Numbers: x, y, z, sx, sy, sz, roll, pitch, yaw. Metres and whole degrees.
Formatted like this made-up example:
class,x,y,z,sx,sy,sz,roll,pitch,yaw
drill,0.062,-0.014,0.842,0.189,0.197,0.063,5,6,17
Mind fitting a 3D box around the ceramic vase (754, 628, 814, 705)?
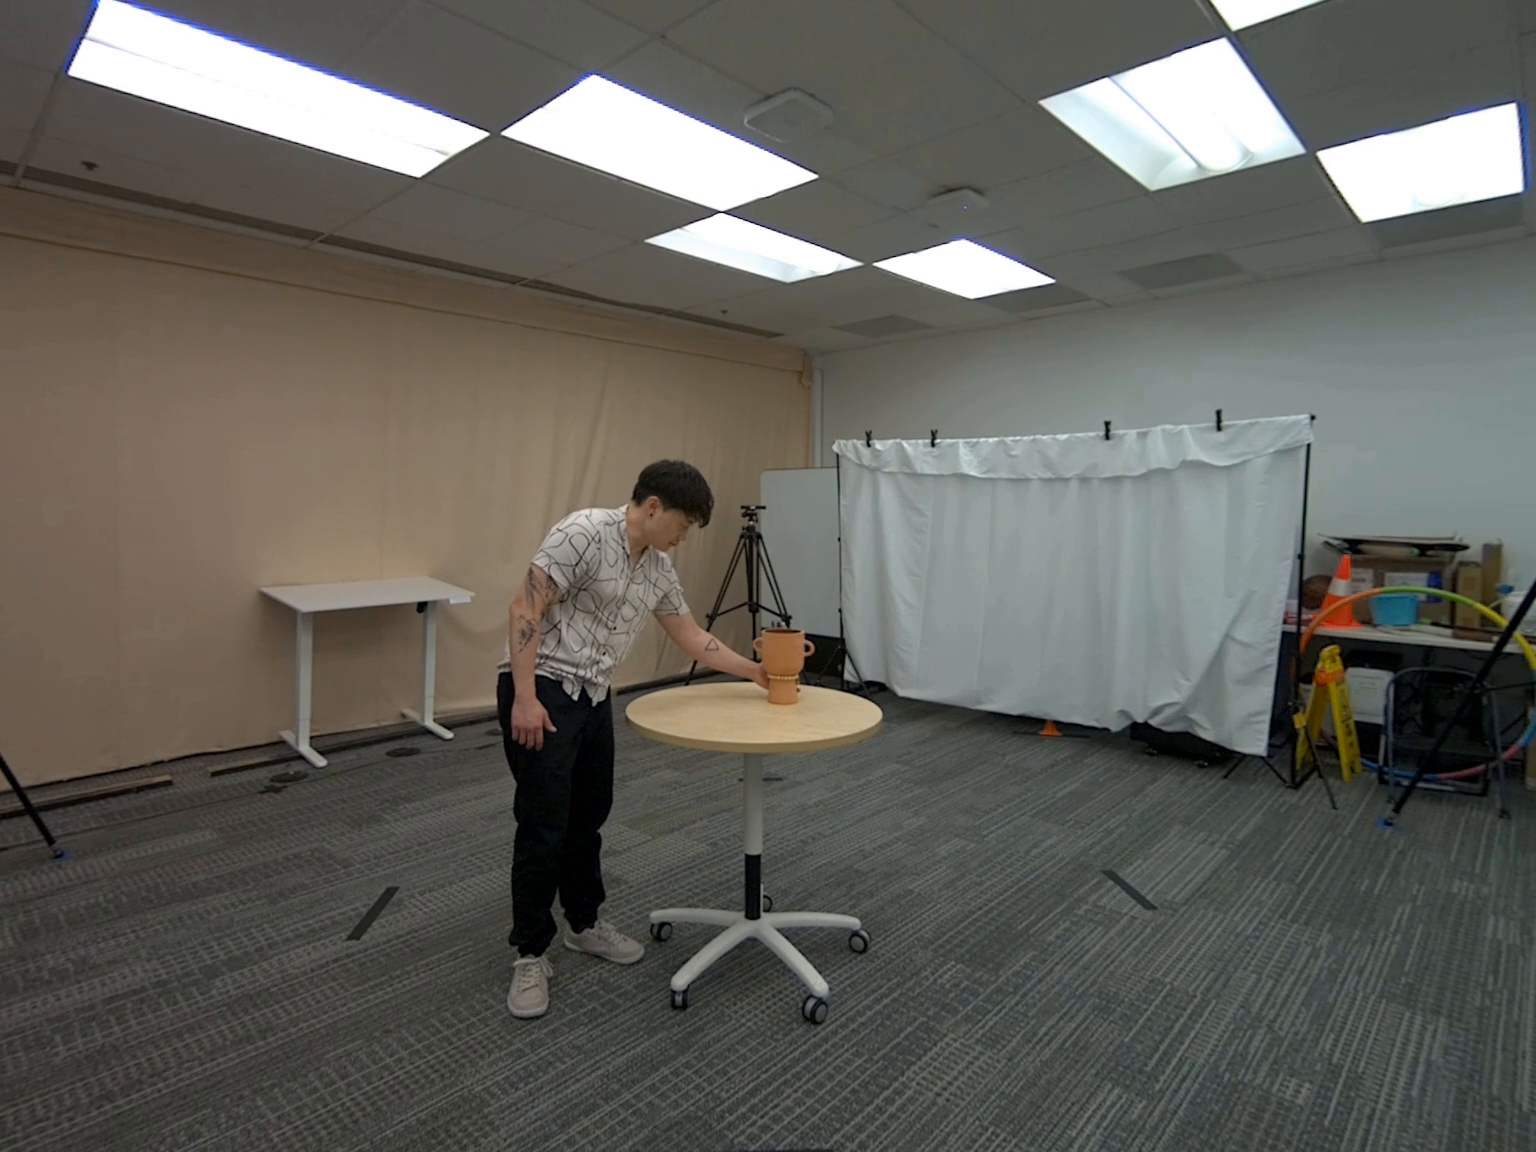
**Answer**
class,x,y,z,sx,sy,sz,roll,pitch,yaw
ceramic vase,0.052,0.282,2.620,0.131,0.219,0.163,-1,3,-32
